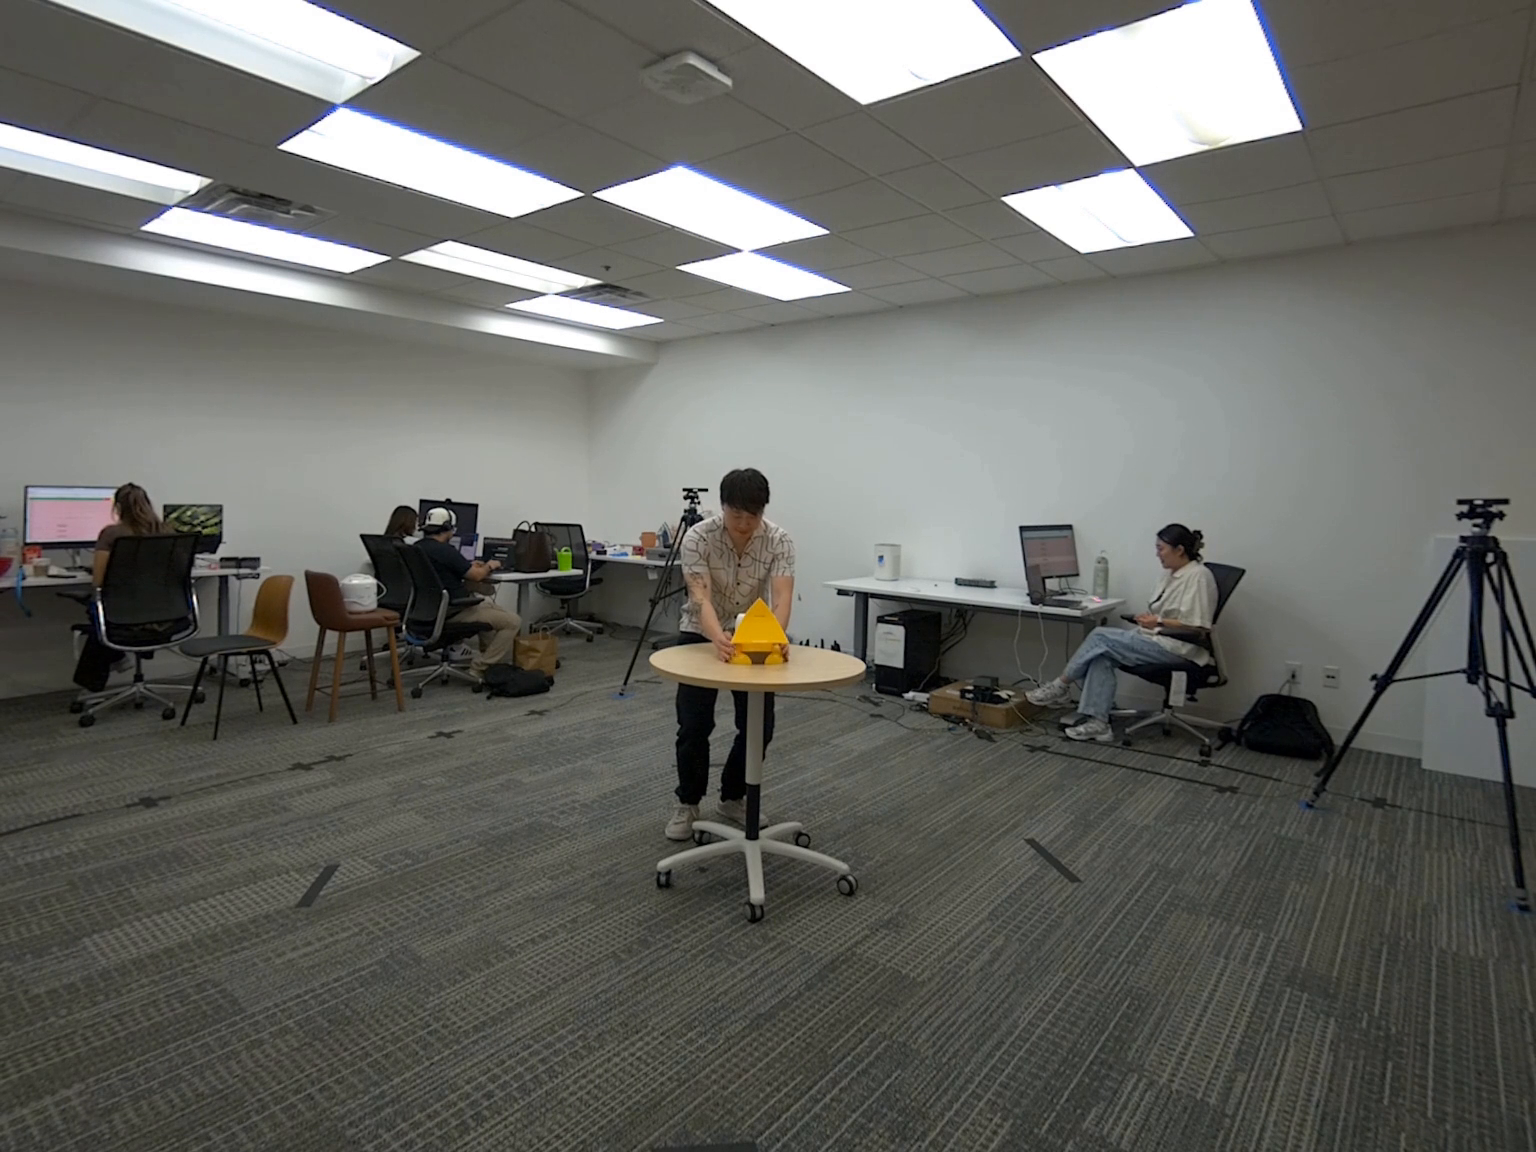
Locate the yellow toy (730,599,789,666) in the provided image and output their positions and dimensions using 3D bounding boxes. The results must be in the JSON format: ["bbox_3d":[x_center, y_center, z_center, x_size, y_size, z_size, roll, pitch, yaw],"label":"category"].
[{"bbox_3d":[-0.056,0.183,3.022,0.202,0.229,0.196,0,6,-11],"label":"yellow toy"}]
